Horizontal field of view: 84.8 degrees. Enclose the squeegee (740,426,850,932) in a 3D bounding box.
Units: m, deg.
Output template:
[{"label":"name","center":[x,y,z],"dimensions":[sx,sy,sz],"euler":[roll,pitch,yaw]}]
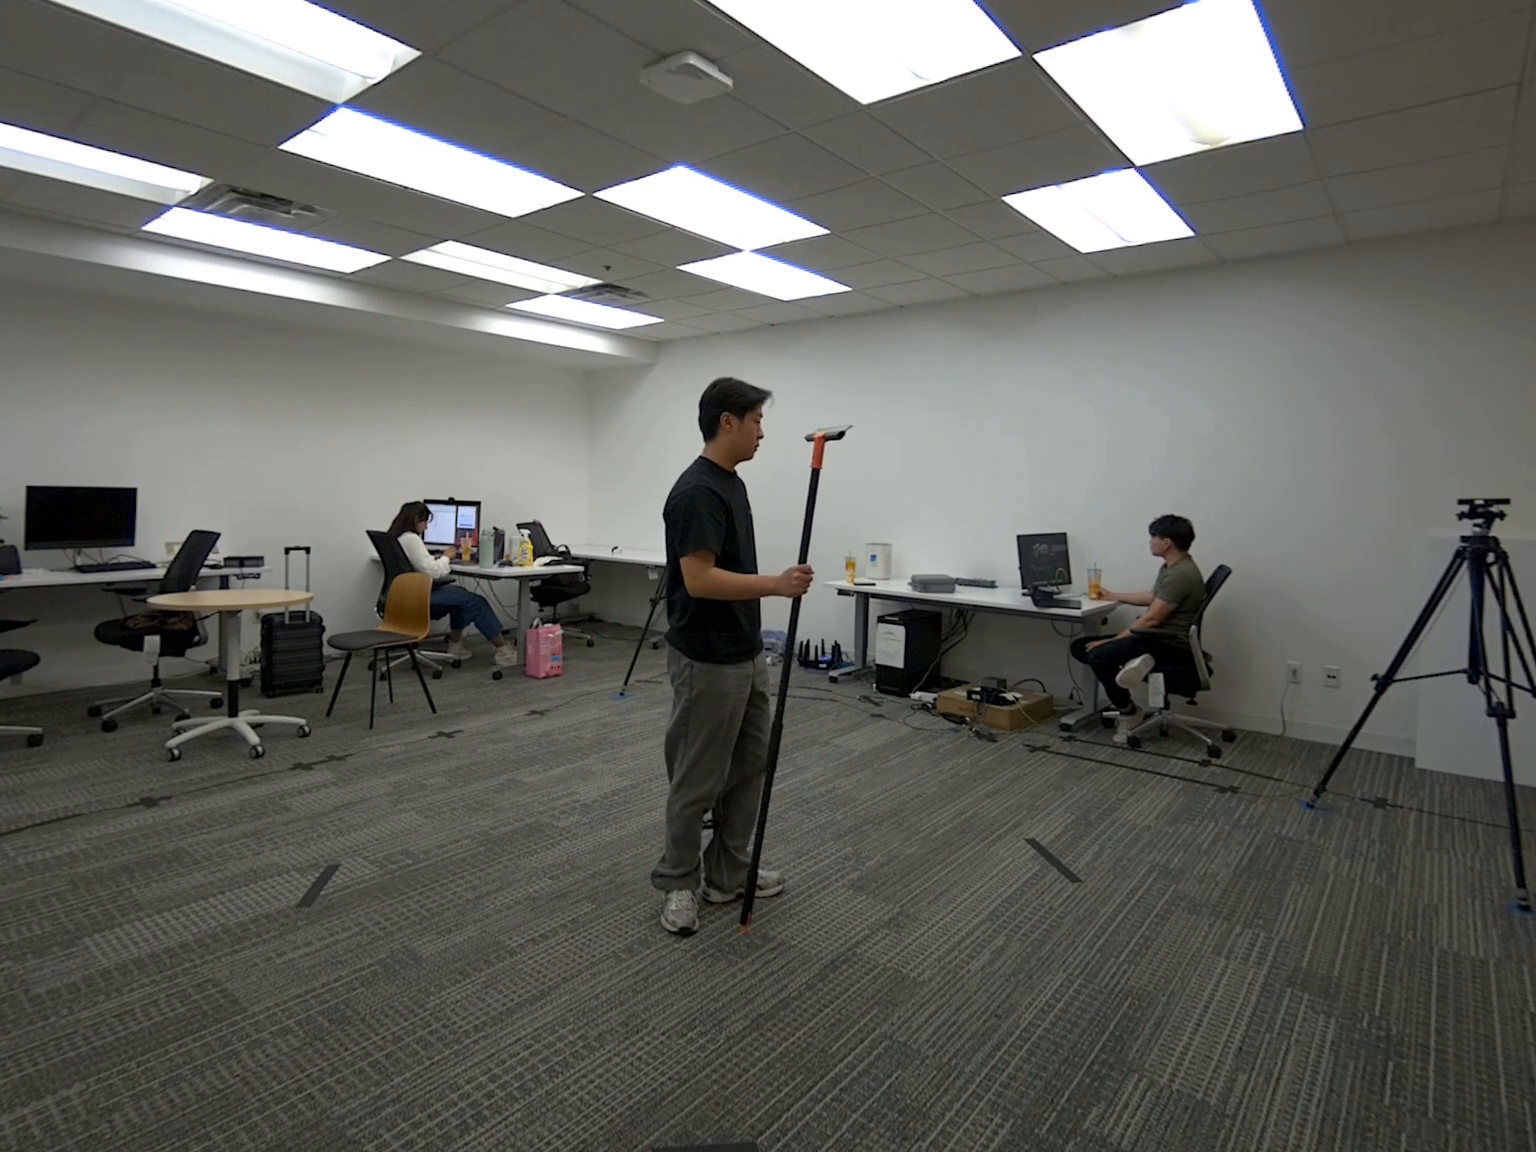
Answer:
[{"label":"squeegee","center":[0.037,0.324,2.519],"dimensions":[0.052,1.531,0.442],"euler":[9,5,-8]}]
